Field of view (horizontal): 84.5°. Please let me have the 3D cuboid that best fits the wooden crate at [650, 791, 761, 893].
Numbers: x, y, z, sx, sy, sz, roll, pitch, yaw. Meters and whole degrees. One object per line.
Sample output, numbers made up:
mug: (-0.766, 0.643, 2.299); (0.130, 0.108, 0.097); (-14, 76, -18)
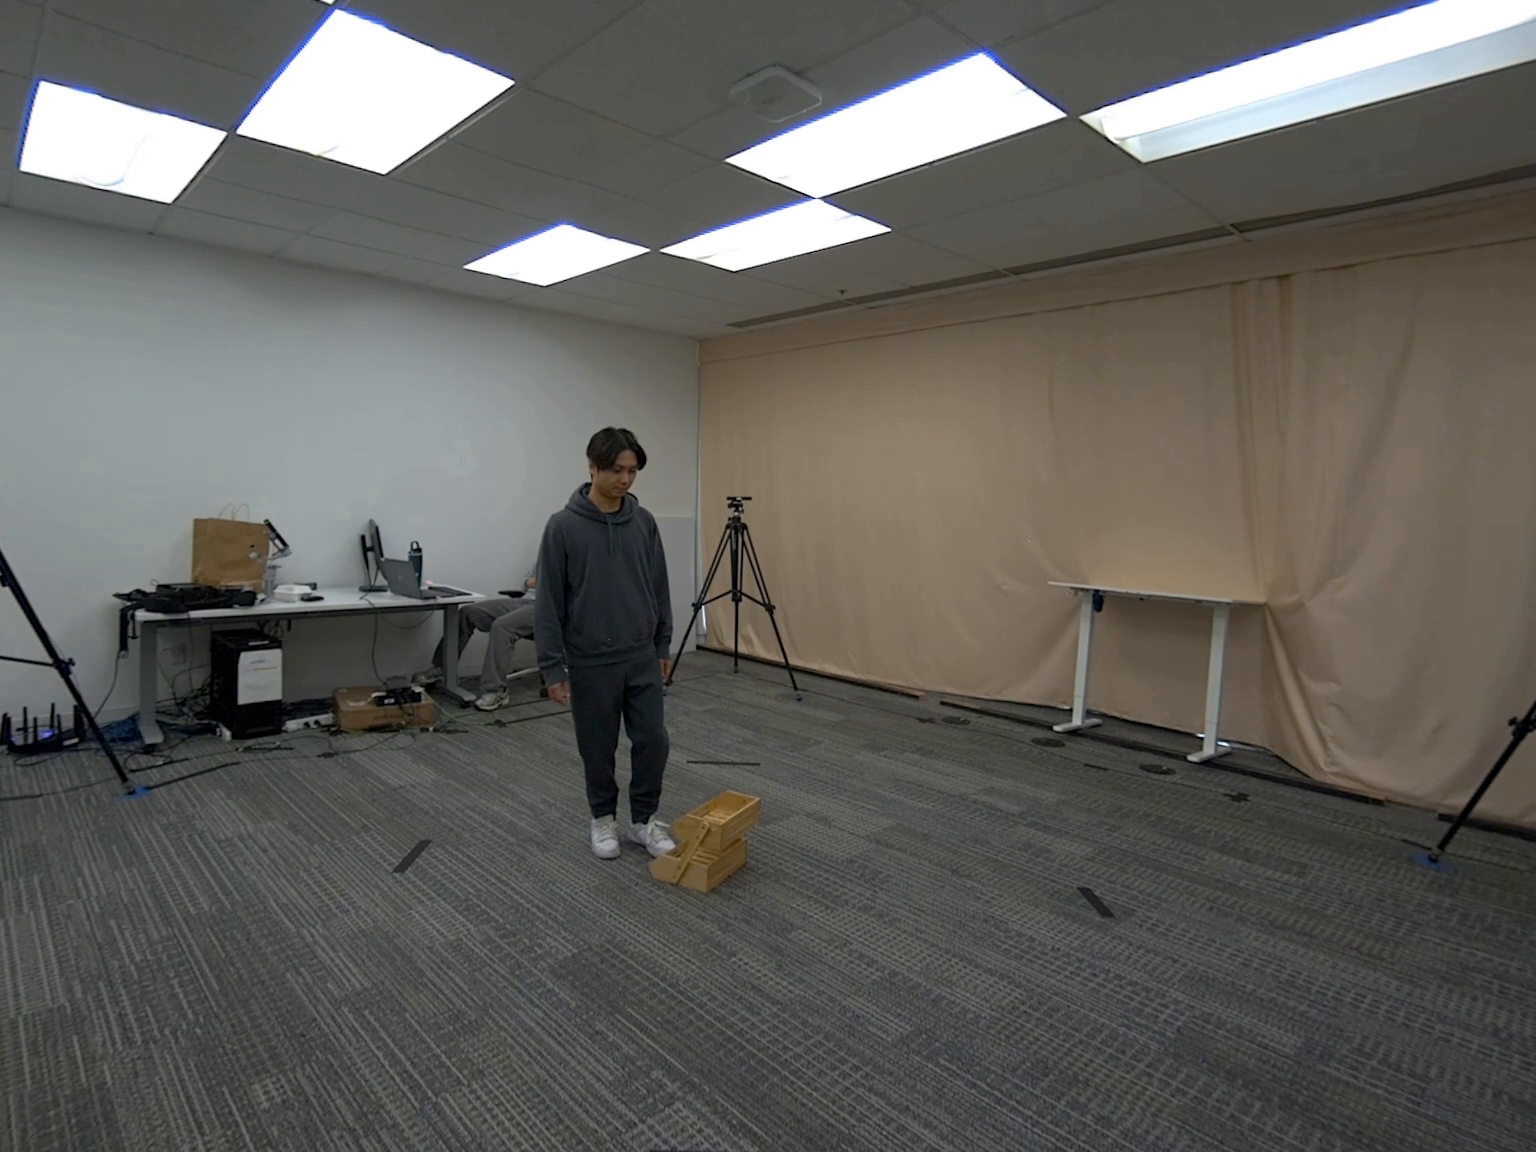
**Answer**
wooden crate: (-0.241, 0.968, 3.129); (0.308, 0.272, 0.319); (4, 5, 27)
